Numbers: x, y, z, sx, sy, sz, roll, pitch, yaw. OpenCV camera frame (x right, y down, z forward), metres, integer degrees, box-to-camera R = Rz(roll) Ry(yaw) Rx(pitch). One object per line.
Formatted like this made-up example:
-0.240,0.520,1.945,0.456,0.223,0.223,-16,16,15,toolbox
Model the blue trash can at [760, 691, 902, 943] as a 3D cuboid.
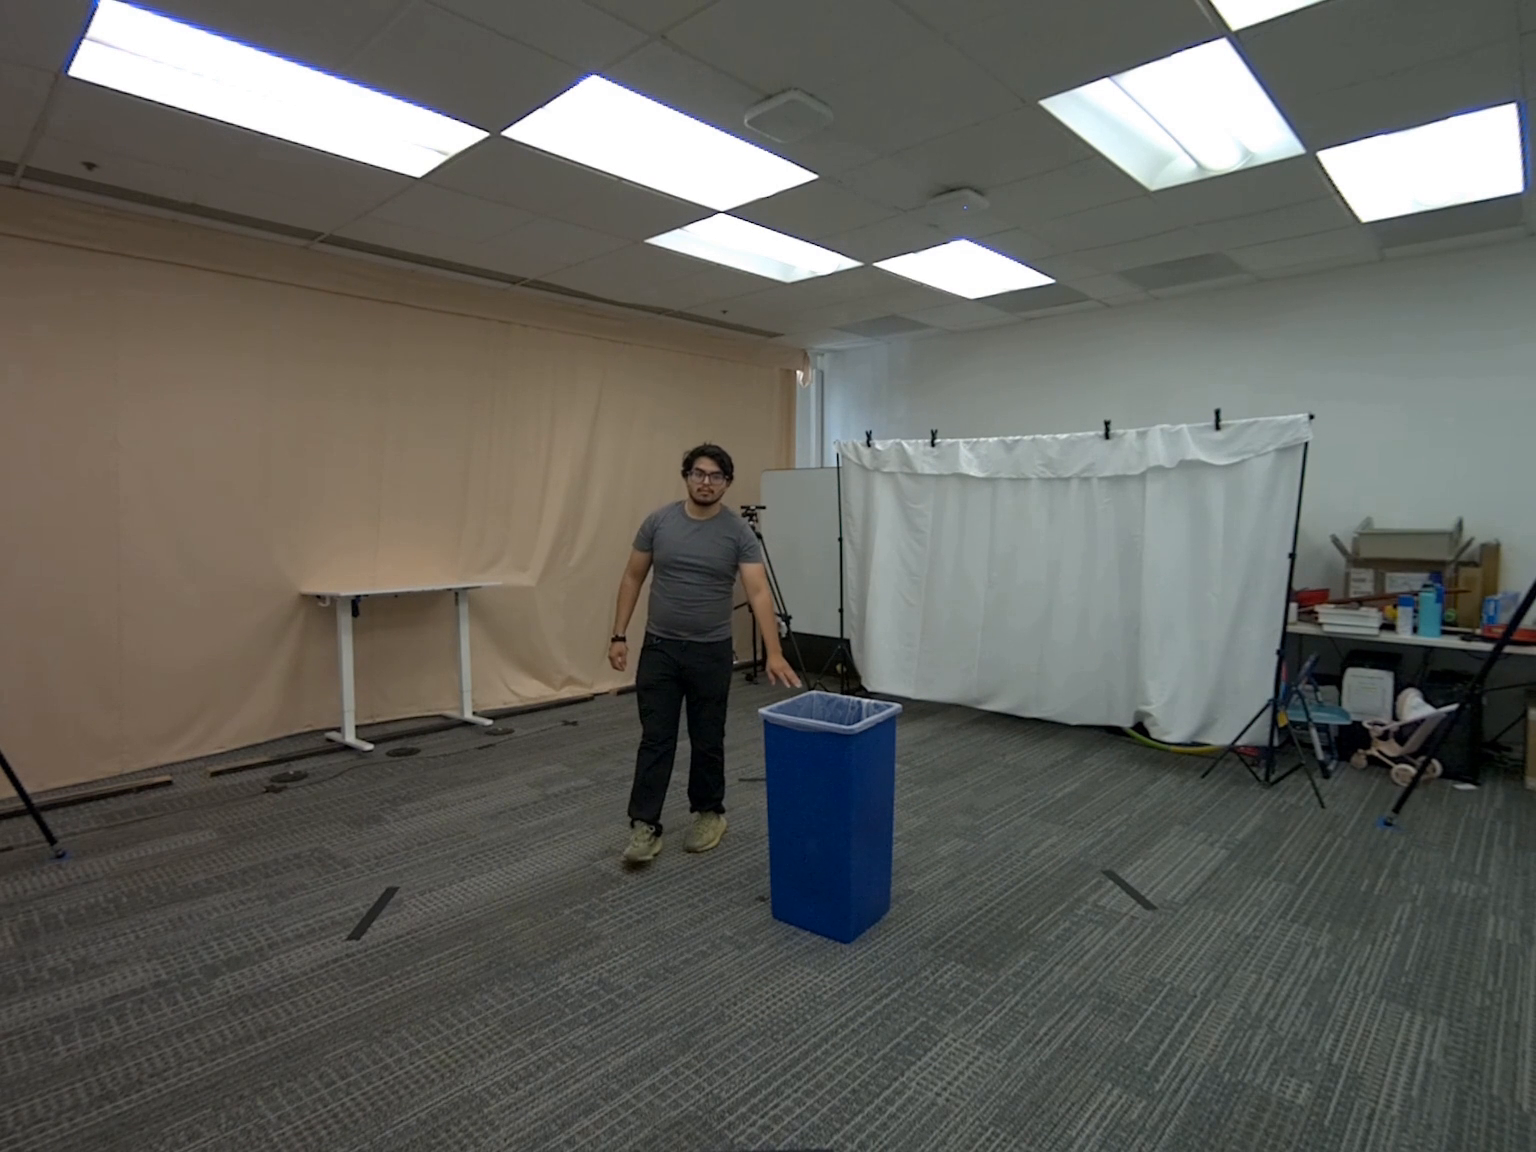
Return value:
0.216,0.797,2.845,0.390,0.712,0.363,2,4,37,blue trash can
